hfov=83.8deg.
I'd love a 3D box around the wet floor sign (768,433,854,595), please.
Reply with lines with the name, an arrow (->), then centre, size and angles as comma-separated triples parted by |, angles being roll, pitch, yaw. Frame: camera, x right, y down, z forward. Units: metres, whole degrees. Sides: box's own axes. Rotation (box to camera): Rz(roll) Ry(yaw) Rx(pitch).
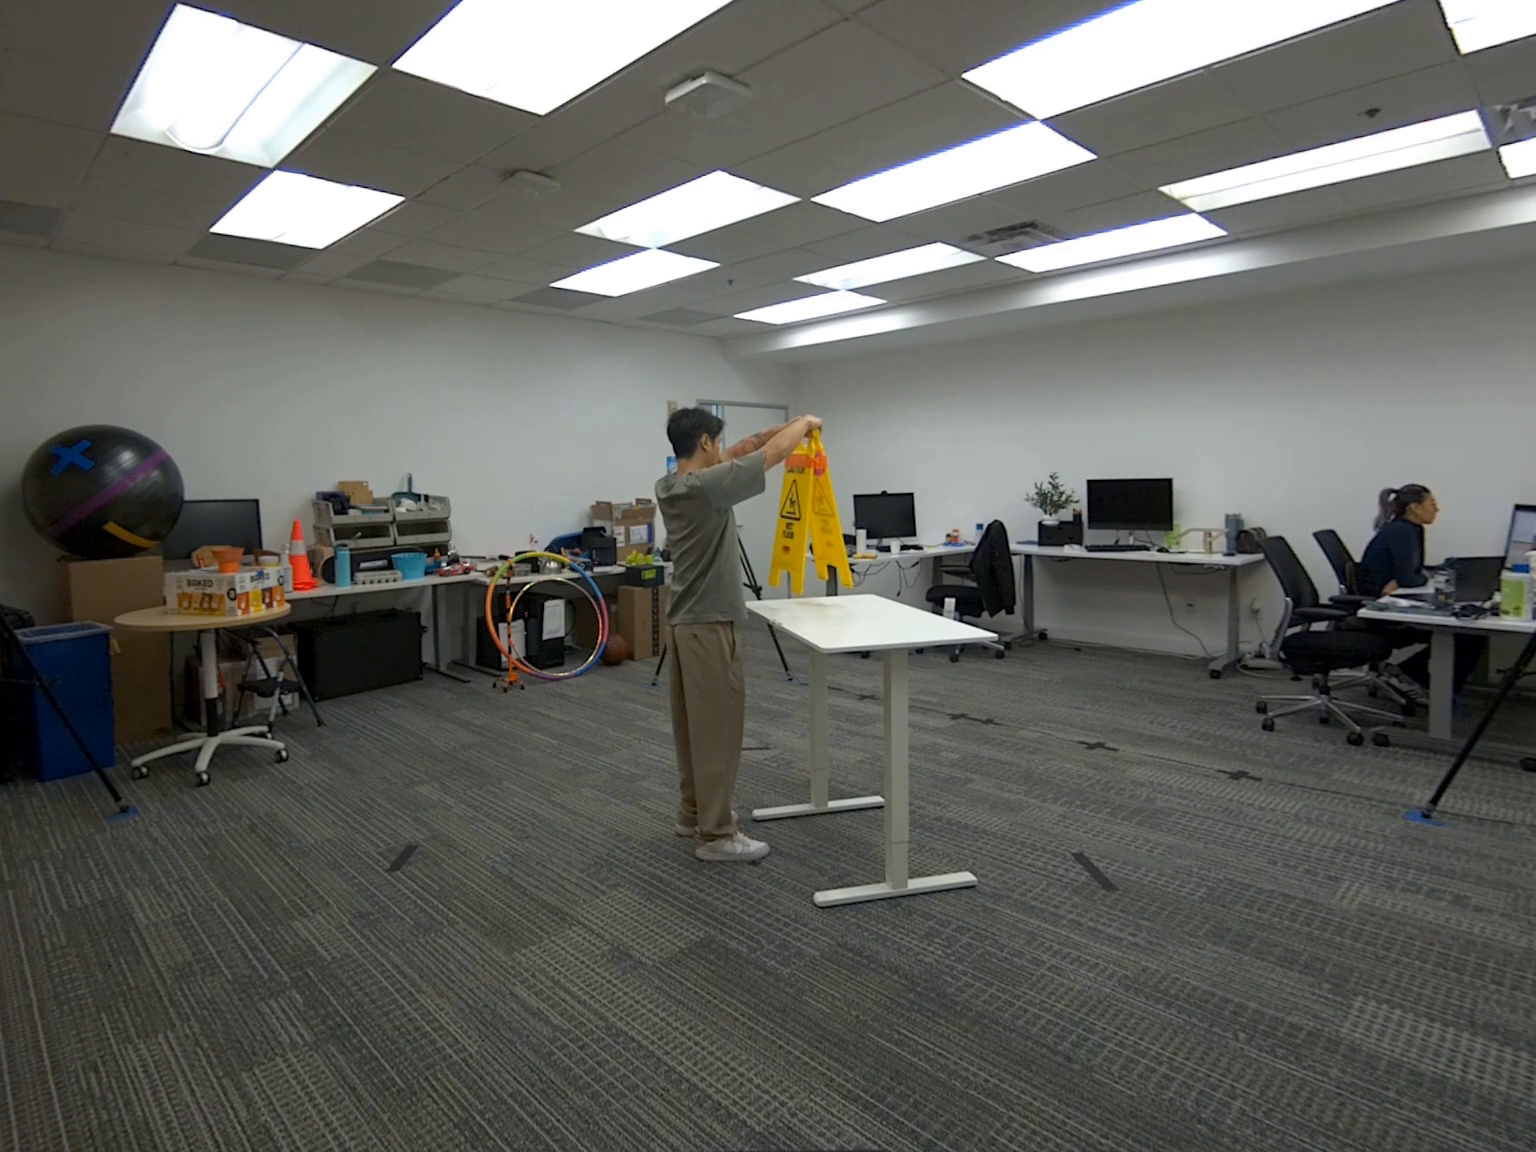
wet floor sign -> 0.158, -0.280, 3.428 | 0.285, 0.642, 0.289 | -6, 8, -22
